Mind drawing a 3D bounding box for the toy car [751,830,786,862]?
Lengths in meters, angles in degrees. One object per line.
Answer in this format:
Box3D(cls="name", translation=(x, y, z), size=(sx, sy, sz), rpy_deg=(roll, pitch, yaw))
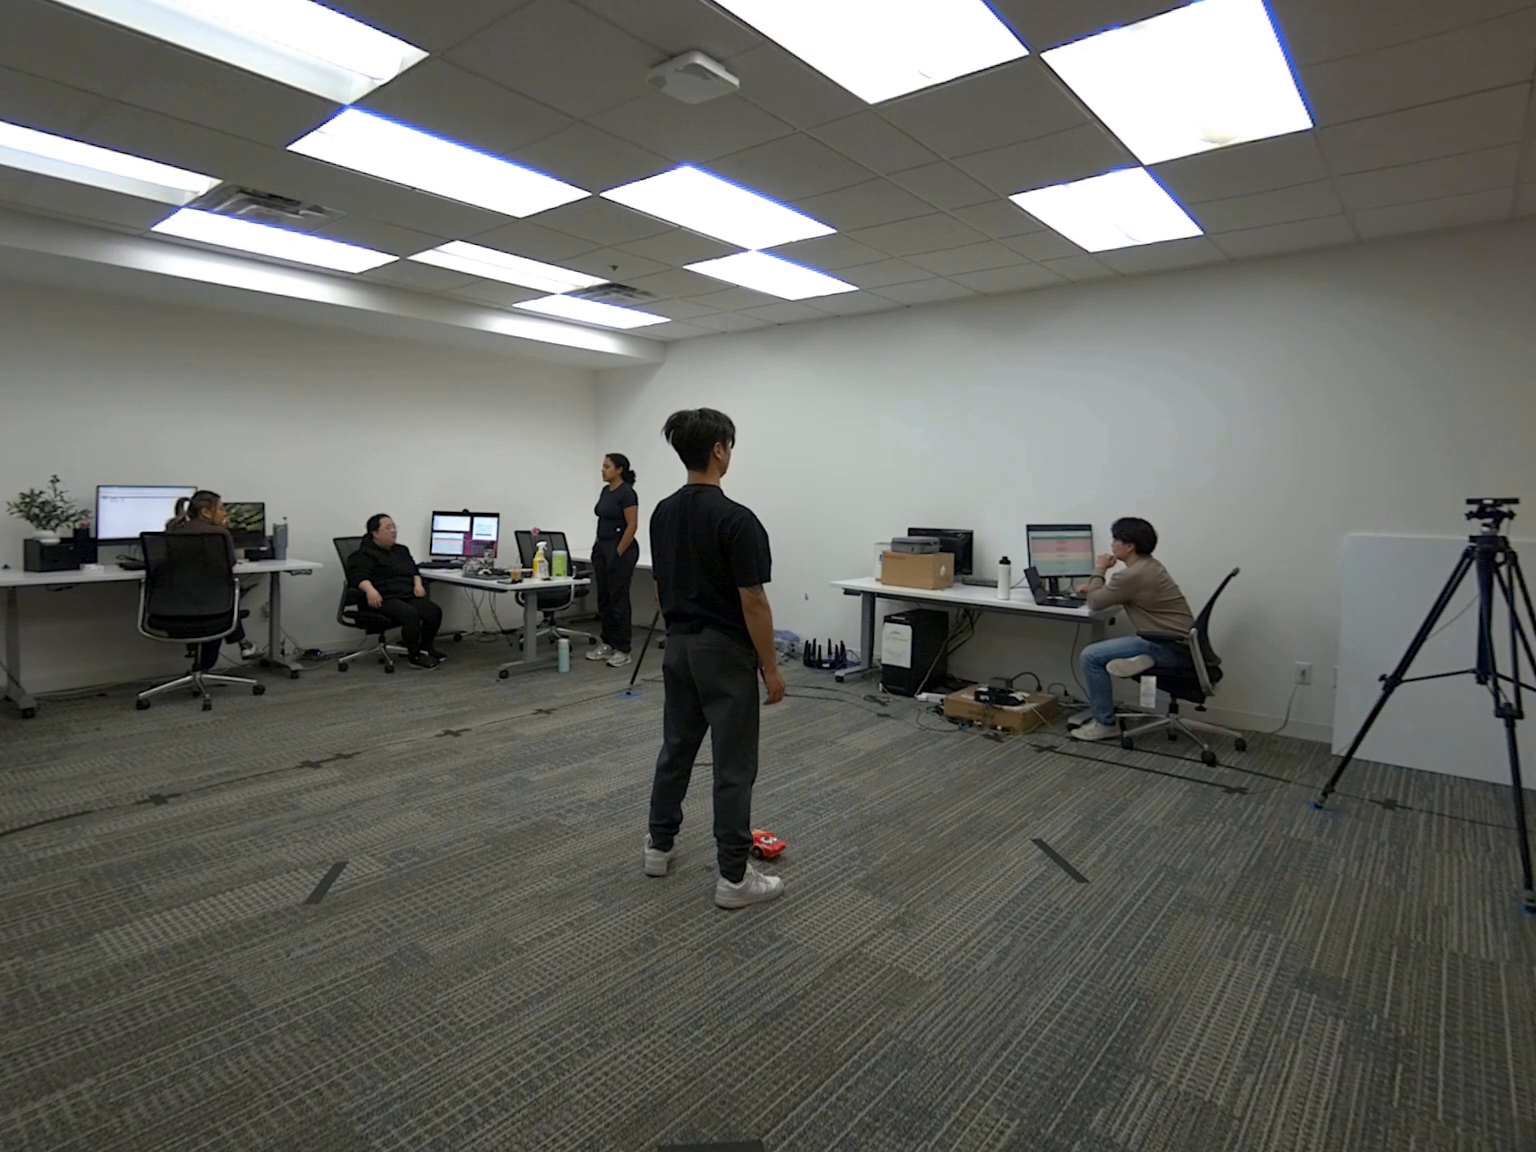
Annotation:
Box3D(cls="toy car", translation=(-0.047, 1.025, 3.267), size=(0.261, 0.083, 0.126), rpy_deg=(-8, -3, 43))
